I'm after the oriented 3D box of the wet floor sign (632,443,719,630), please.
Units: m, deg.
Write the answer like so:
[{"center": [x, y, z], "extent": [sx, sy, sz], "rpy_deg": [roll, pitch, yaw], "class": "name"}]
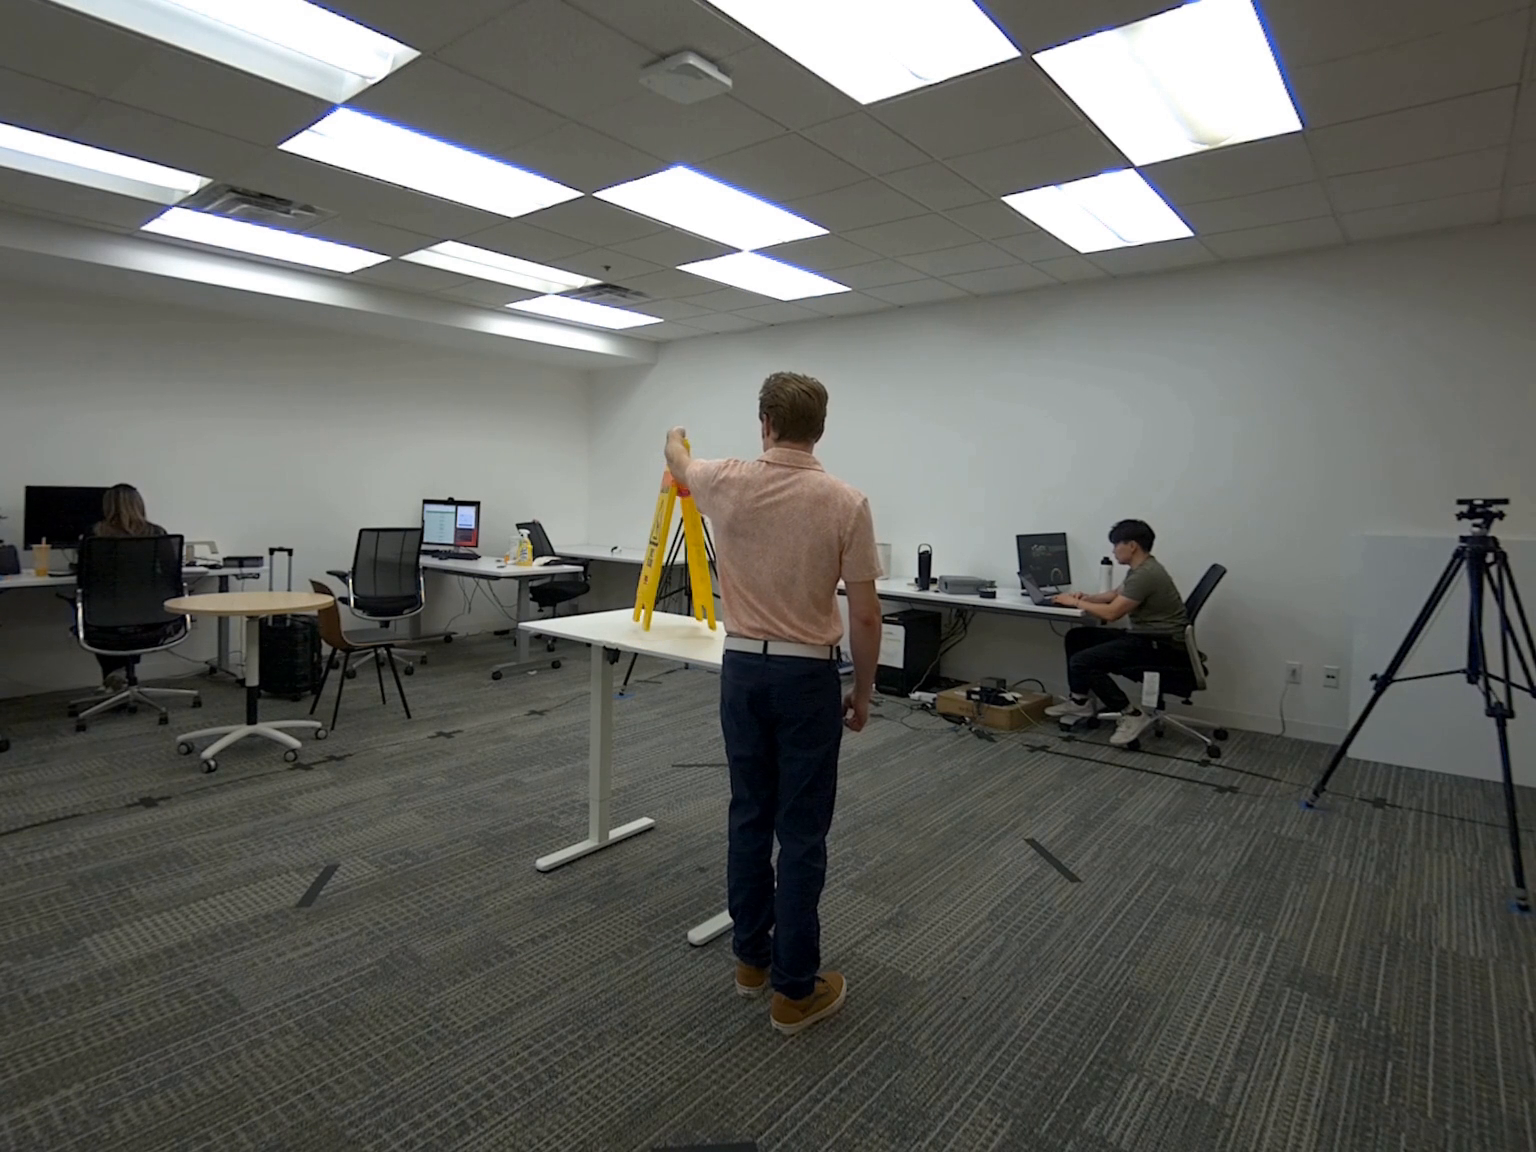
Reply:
[{"center": [-0.327, -0.151, 2.963], "extent": [0.284, 0.645, 0.288], "rpy_deg": [2, 3, -18], "class": "wet floor sign"}]
